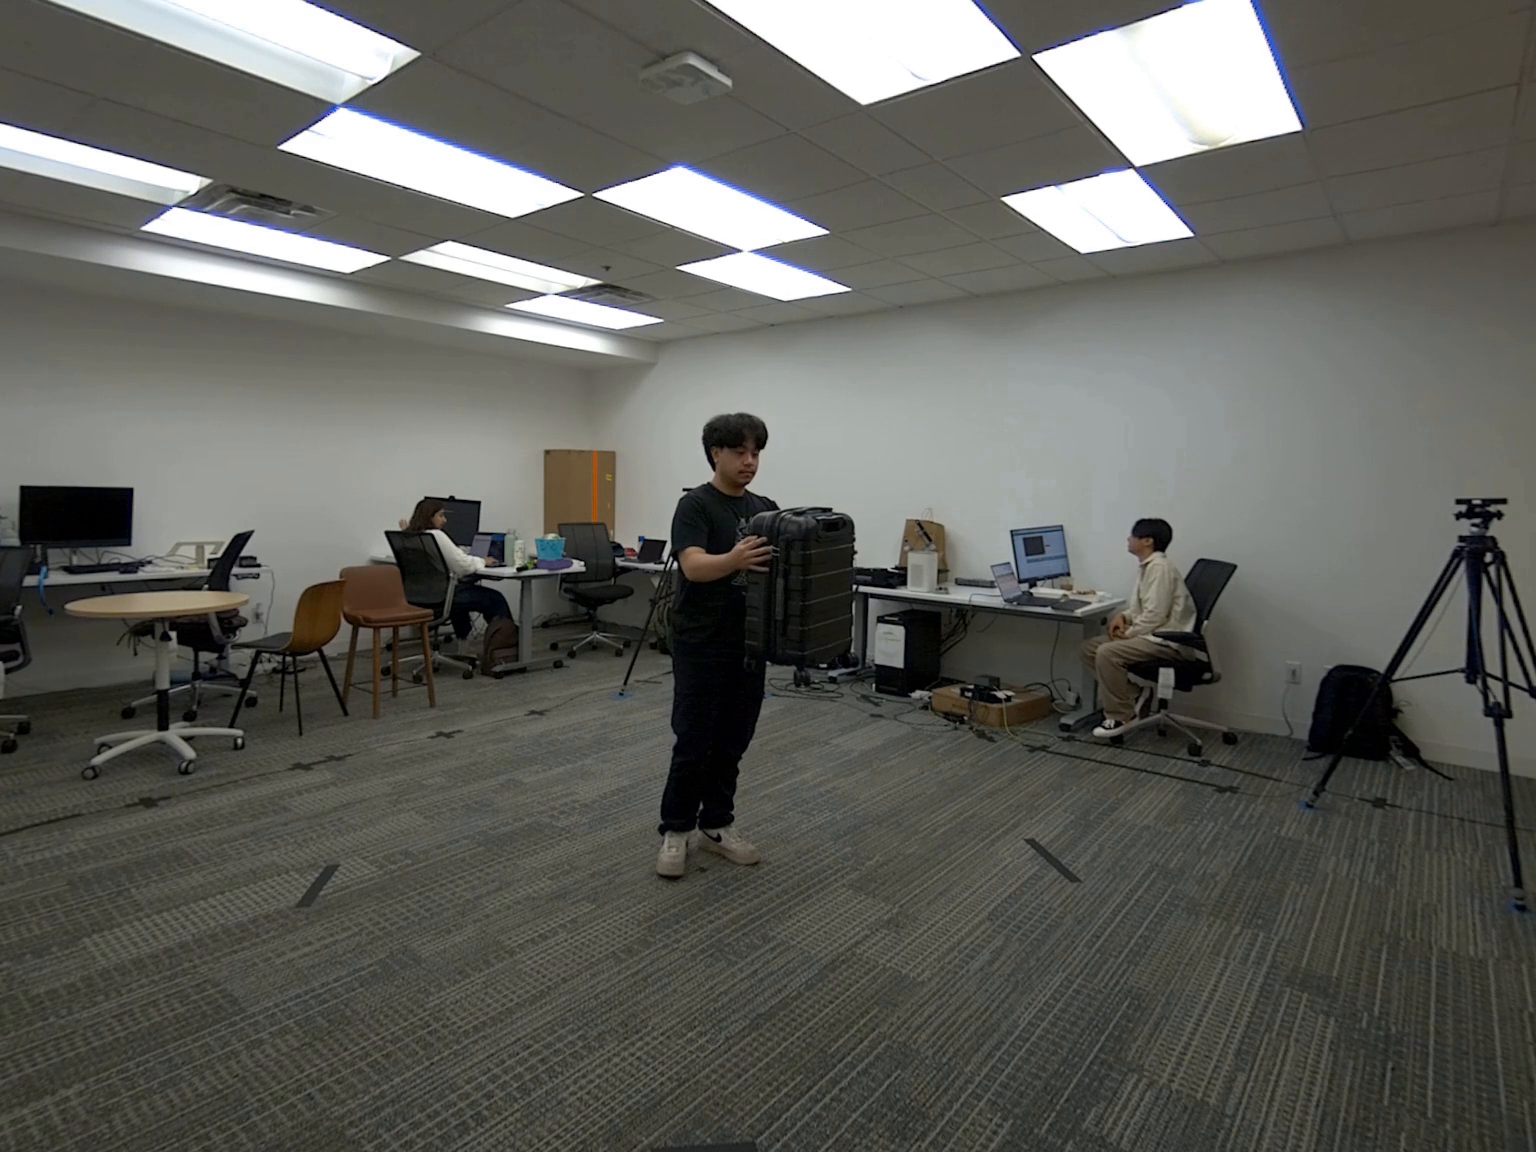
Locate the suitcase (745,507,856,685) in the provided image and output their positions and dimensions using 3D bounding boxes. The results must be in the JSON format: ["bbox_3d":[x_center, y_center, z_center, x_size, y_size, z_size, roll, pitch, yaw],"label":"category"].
[{"bbox_3d":[0.103,0.040,2.852,0.256,0.546,0.365,5,8,37],"label":"suitcase"}]
